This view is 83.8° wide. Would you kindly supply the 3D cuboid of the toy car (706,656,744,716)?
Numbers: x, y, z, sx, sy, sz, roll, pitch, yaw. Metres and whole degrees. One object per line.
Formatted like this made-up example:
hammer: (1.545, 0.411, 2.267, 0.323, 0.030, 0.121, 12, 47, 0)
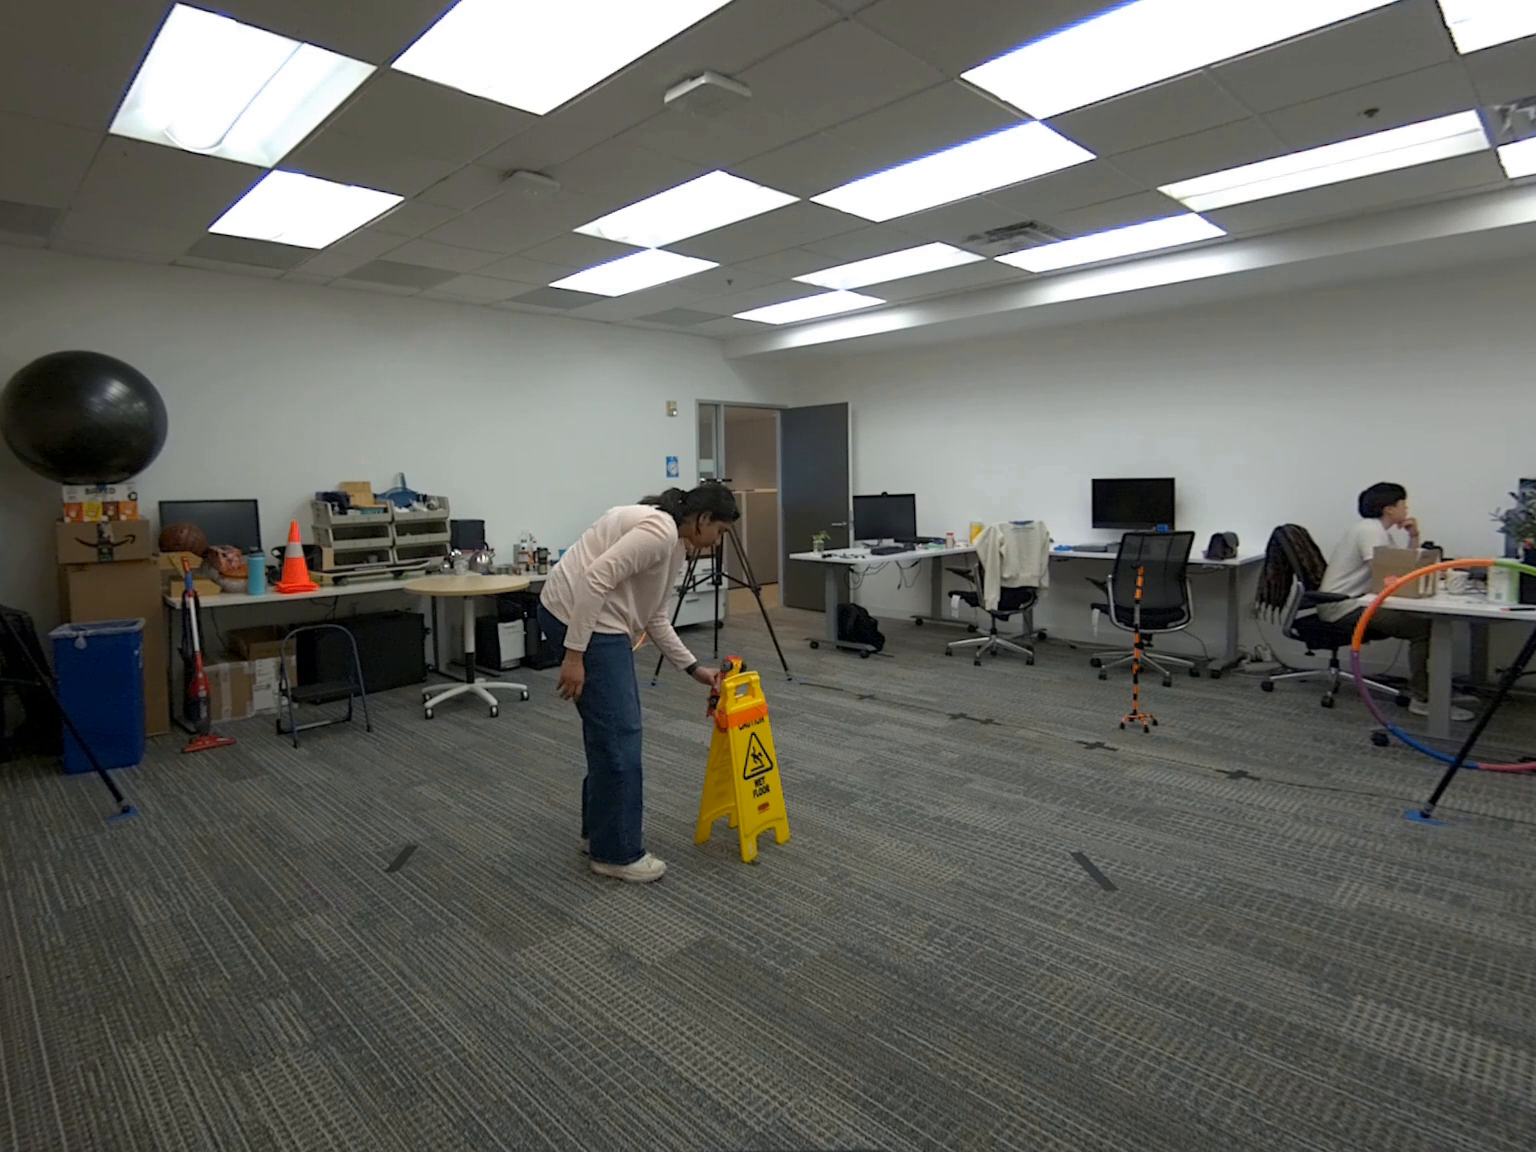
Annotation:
toy car: (-0.167, 0.434, 3.289, 0.086, 0.253, 0.126, 34, 12, 37)
